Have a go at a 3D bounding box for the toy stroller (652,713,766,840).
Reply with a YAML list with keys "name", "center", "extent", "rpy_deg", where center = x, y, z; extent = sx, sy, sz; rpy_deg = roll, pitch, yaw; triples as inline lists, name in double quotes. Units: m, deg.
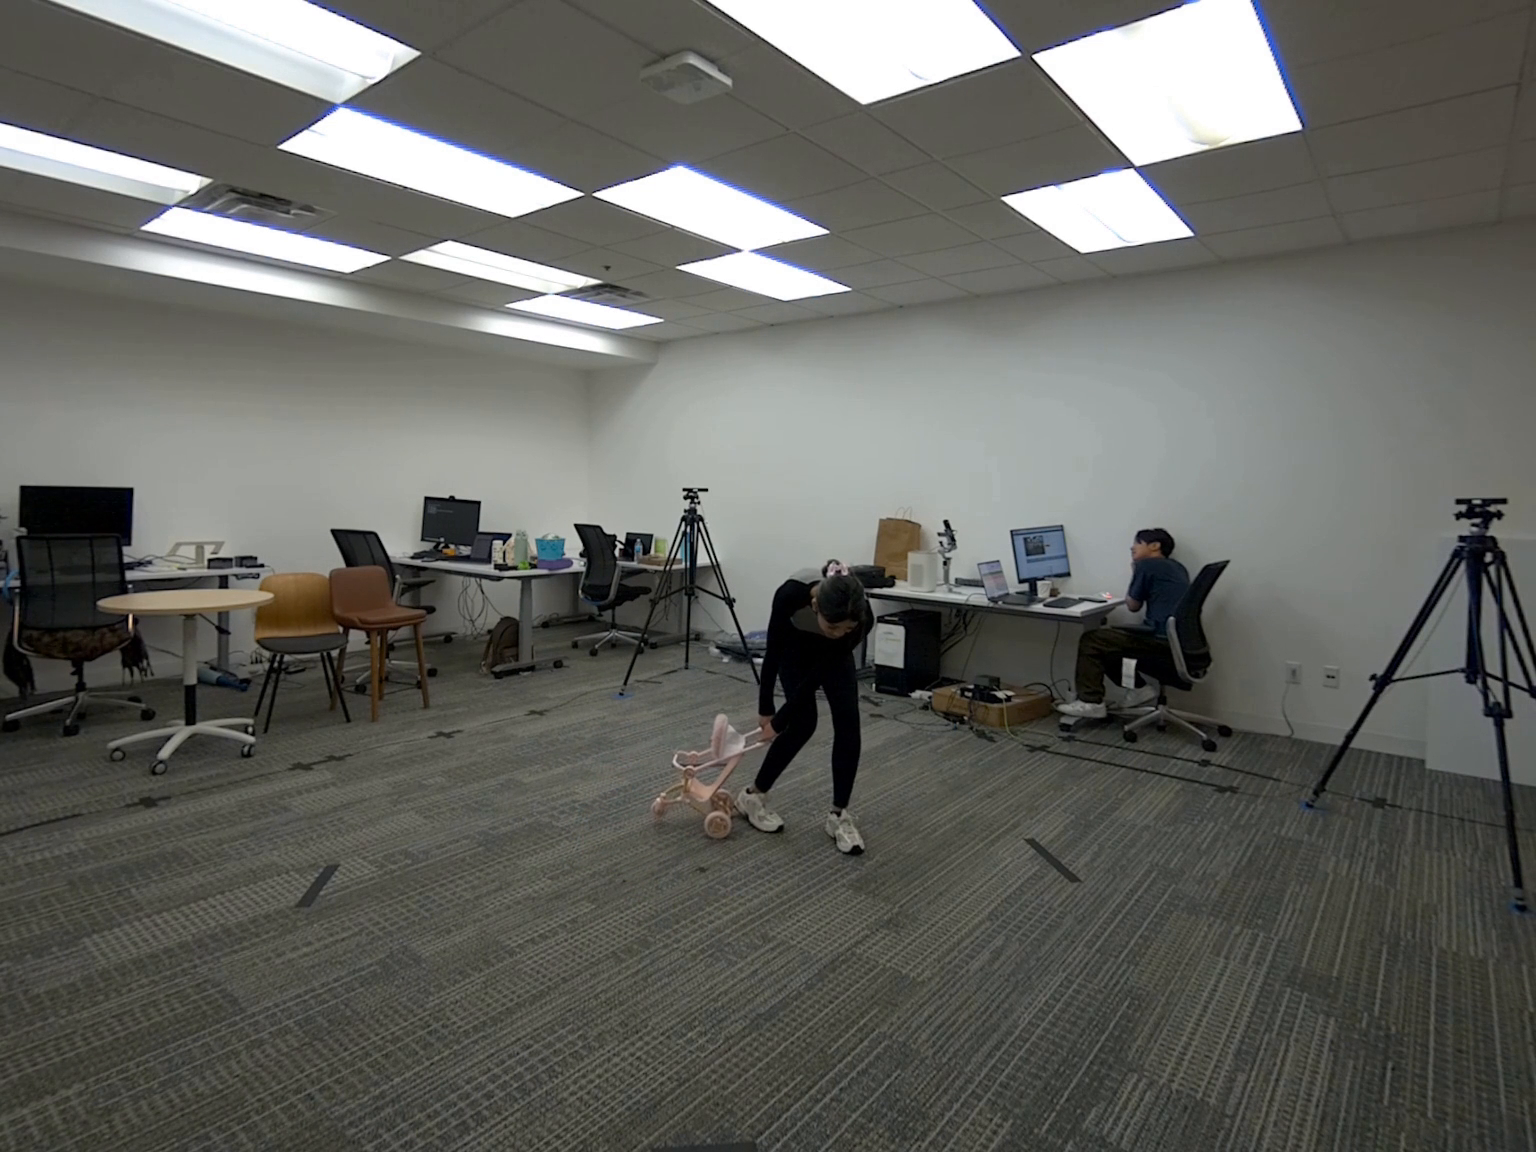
- name: "toy stroller"
  center: [-0.251, 0.805, 3.511]
  extent: [0.344, 0.533, 0.280]
  rpy_deg: [23, 5, 5]
